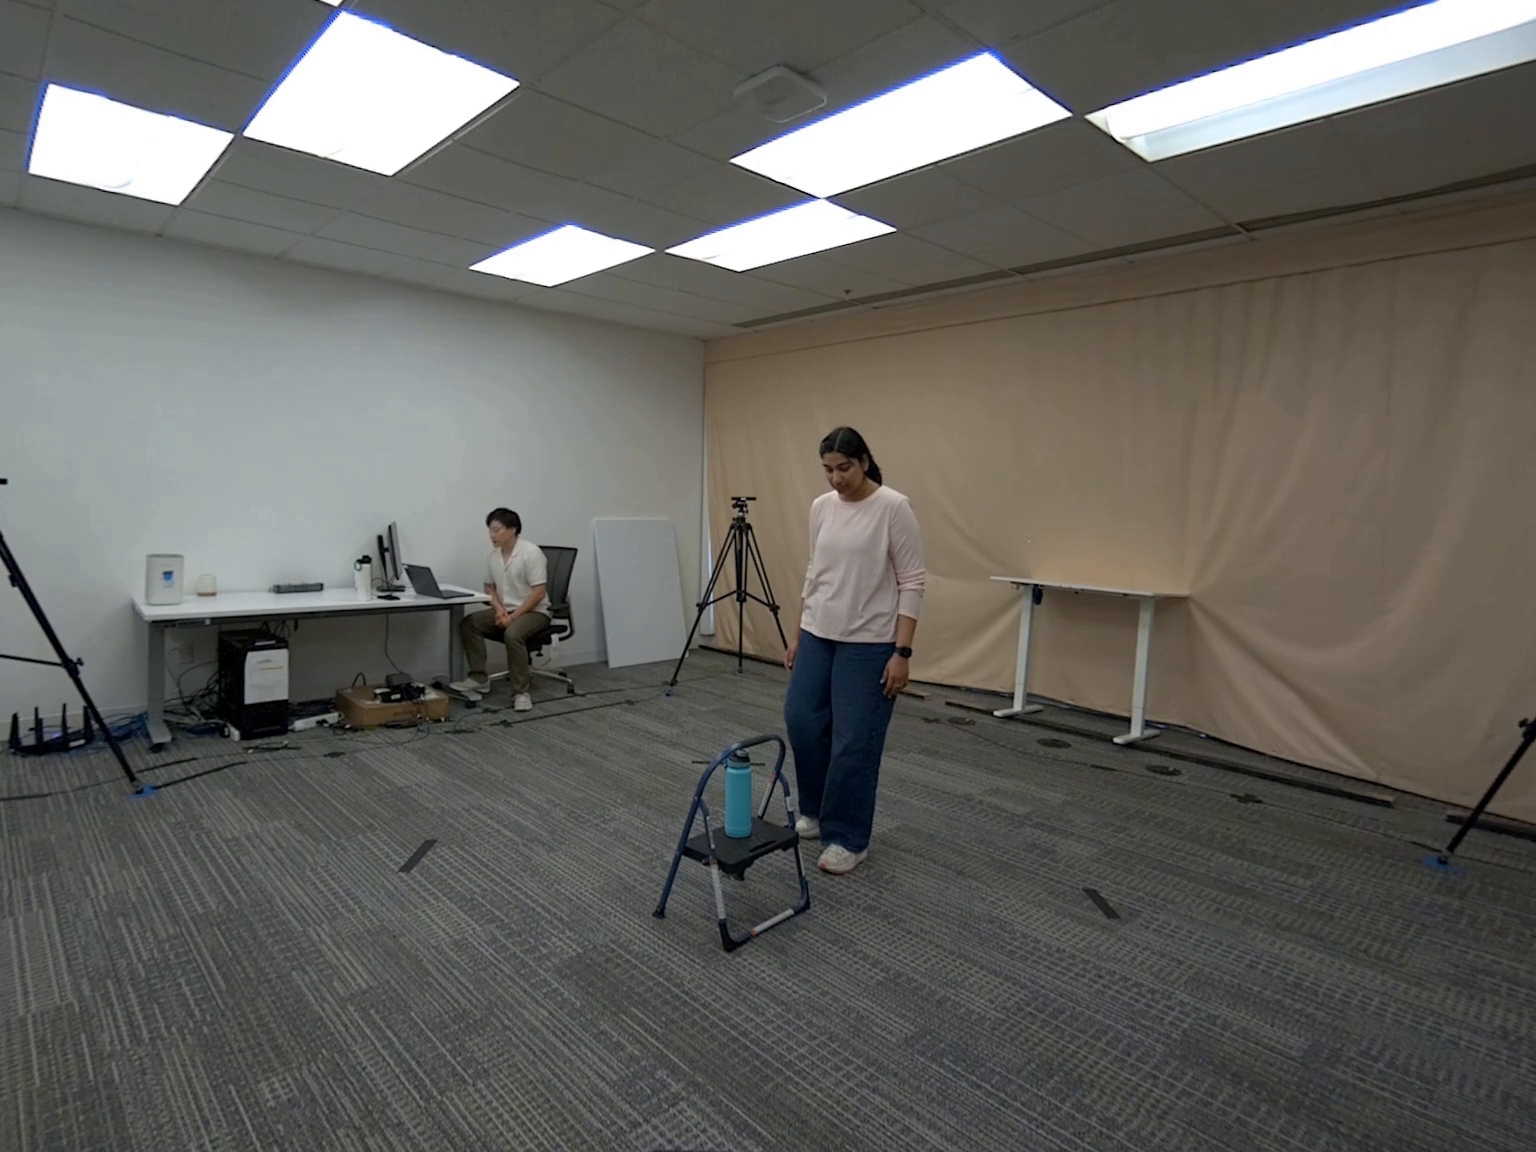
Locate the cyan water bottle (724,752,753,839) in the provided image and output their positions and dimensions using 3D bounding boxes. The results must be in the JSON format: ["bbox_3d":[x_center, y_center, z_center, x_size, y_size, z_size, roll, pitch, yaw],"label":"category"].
[{"bbox_3d":[-0.105,0.733,2.840,0.092,0.283,0.092,-1,1,-1],"label":"cyan water bottle"}]
